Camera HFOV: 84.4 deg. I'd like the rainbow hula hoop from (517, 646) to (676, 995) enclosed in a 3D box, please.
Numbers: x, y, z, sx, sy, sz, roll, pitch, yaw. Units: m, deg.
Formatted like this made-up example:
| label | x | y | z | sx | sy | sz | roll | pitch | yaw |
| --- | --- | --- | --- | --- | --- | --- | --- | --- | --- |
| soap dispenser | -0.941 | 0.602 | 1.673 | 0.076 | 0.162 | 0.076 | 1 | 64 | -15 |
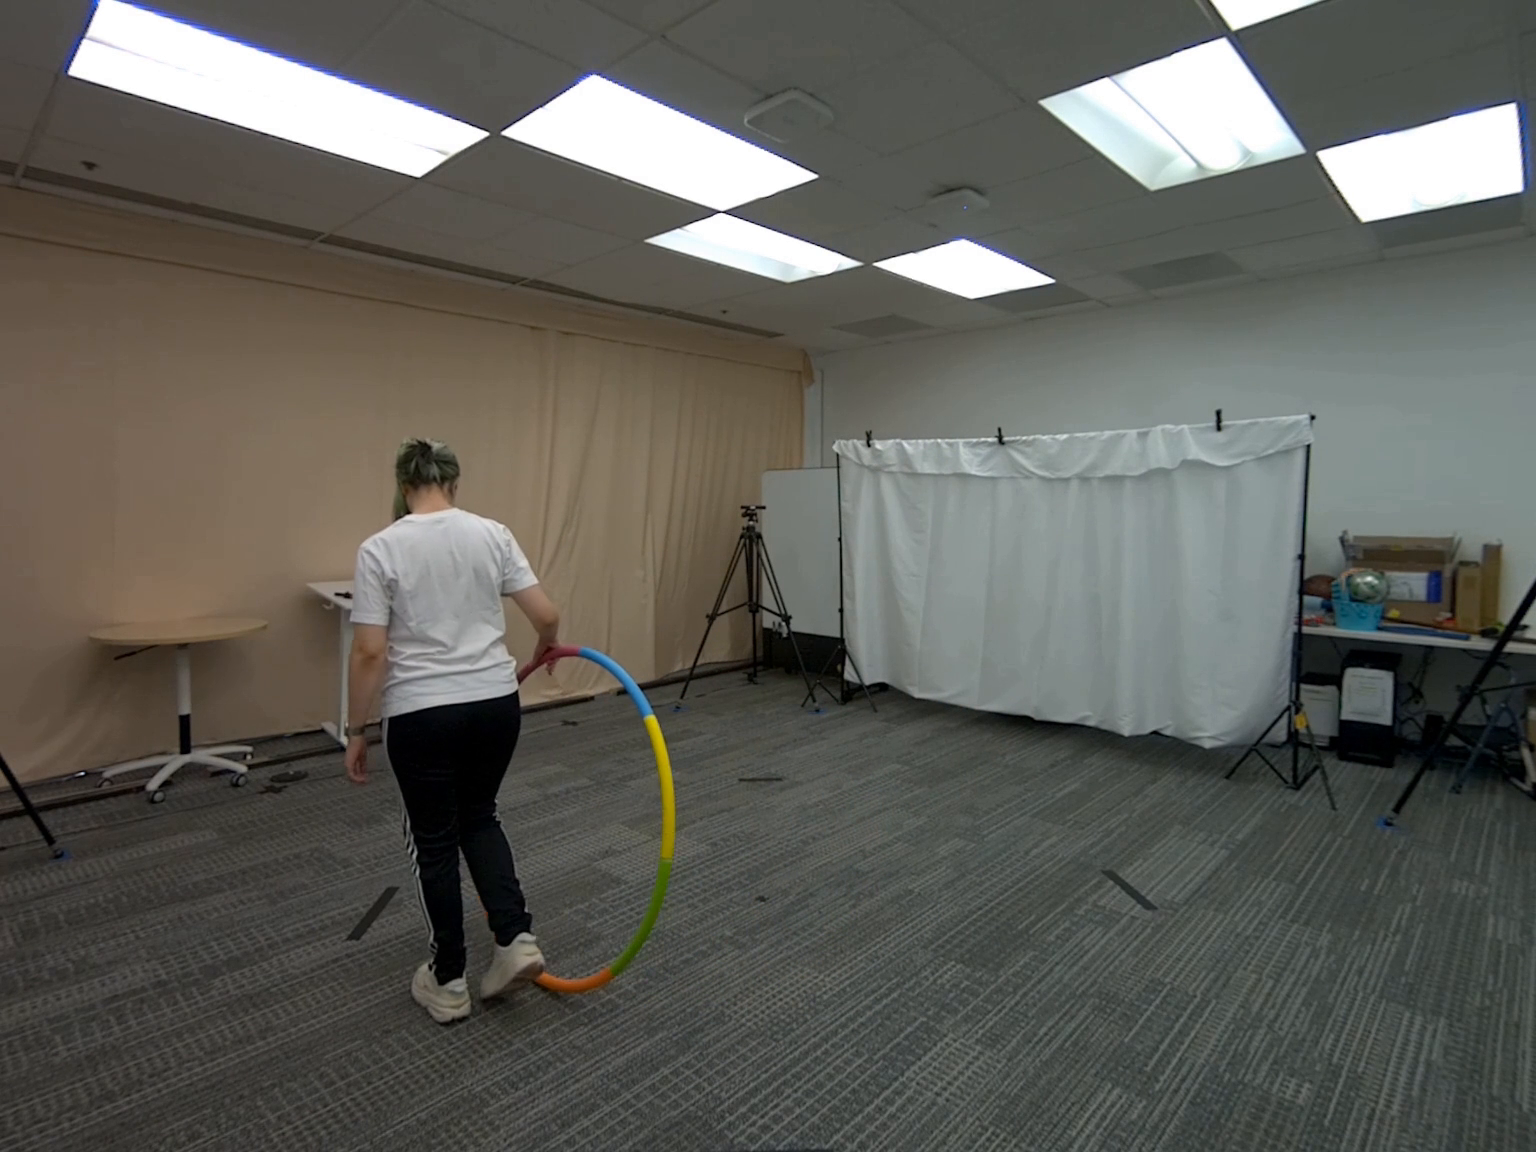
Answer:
| label | x | y | z | sx | sy | sz | roll | pitch | yaw |
| --- | --- | --- | --- | --- | --- | --- | --- | --- | --- |
| rainbow hula hoop | -0.617 | 0.699 | 2.515 | 1.011 | 0.981 | 0.034 | 4 | -6 | 43 |
